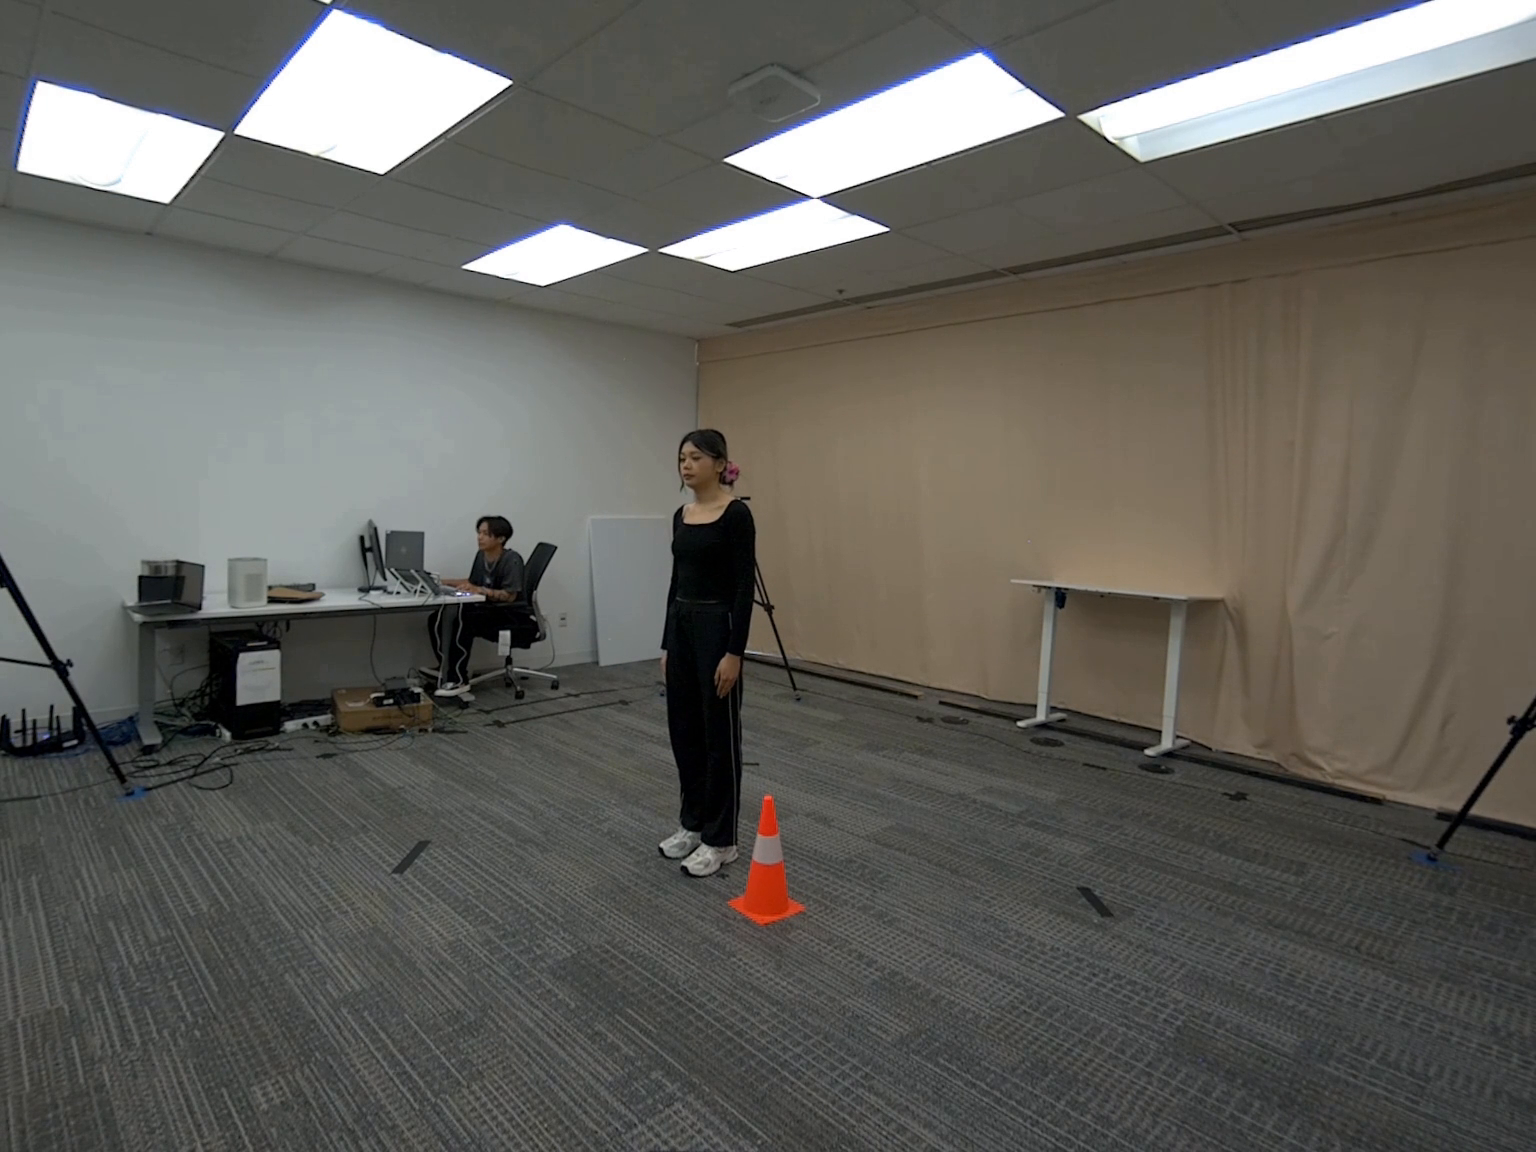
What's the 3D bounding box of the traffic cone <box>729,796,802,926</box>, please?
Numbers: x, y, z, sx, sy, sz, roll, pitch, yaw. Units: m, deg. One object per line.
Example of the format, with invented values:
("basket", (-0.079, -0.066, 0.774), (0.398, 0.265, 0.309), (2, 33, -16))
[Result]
("traffic cone", (-0.014, 0.947, 2.867), (0.201, 0.383, 0.208), (-3, 5, -35))
